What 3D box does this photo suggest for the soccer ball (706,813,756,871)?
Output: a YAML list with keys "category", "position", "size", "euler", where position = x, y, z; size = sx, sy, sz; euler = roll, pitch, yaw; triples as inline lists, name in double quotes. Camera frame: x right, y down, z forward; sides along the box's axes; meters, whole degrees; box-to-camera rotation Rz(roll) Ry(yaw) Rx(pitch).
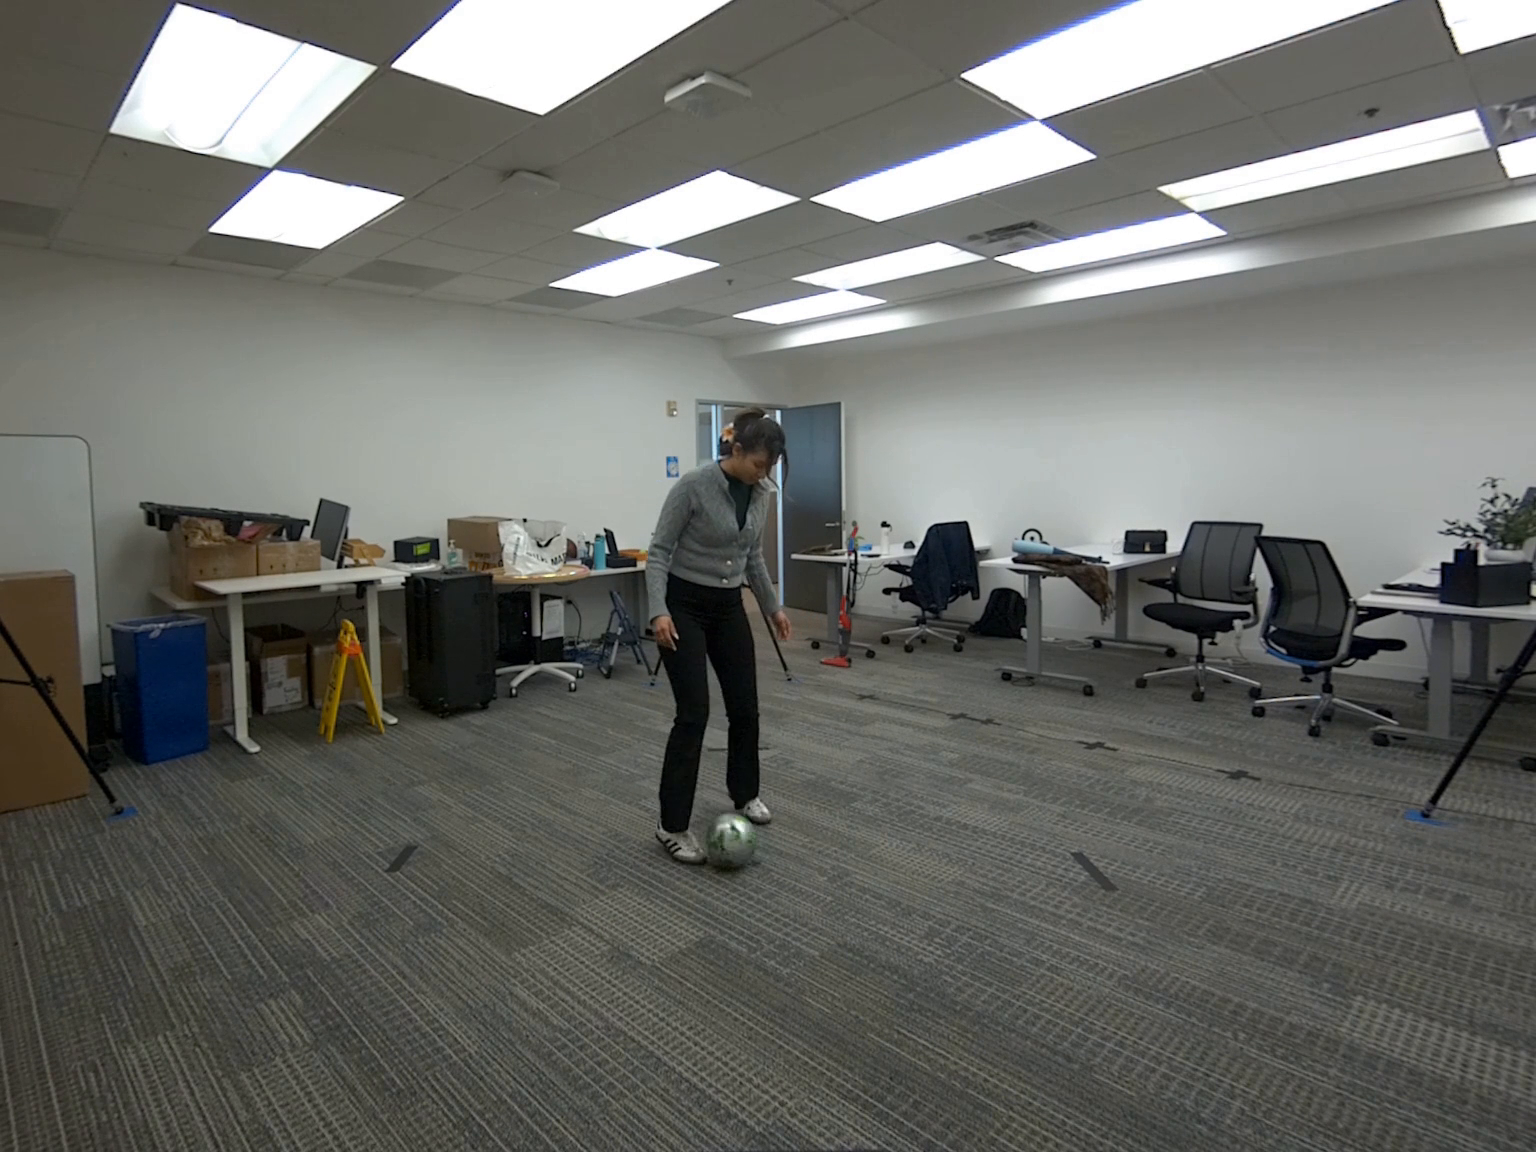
- category: "soccer ball"
  position: [-0.138, 0.952, 3.072]
  size: [0.187, 0.187, 0.188]
  euler: [-1, 5, -2]
